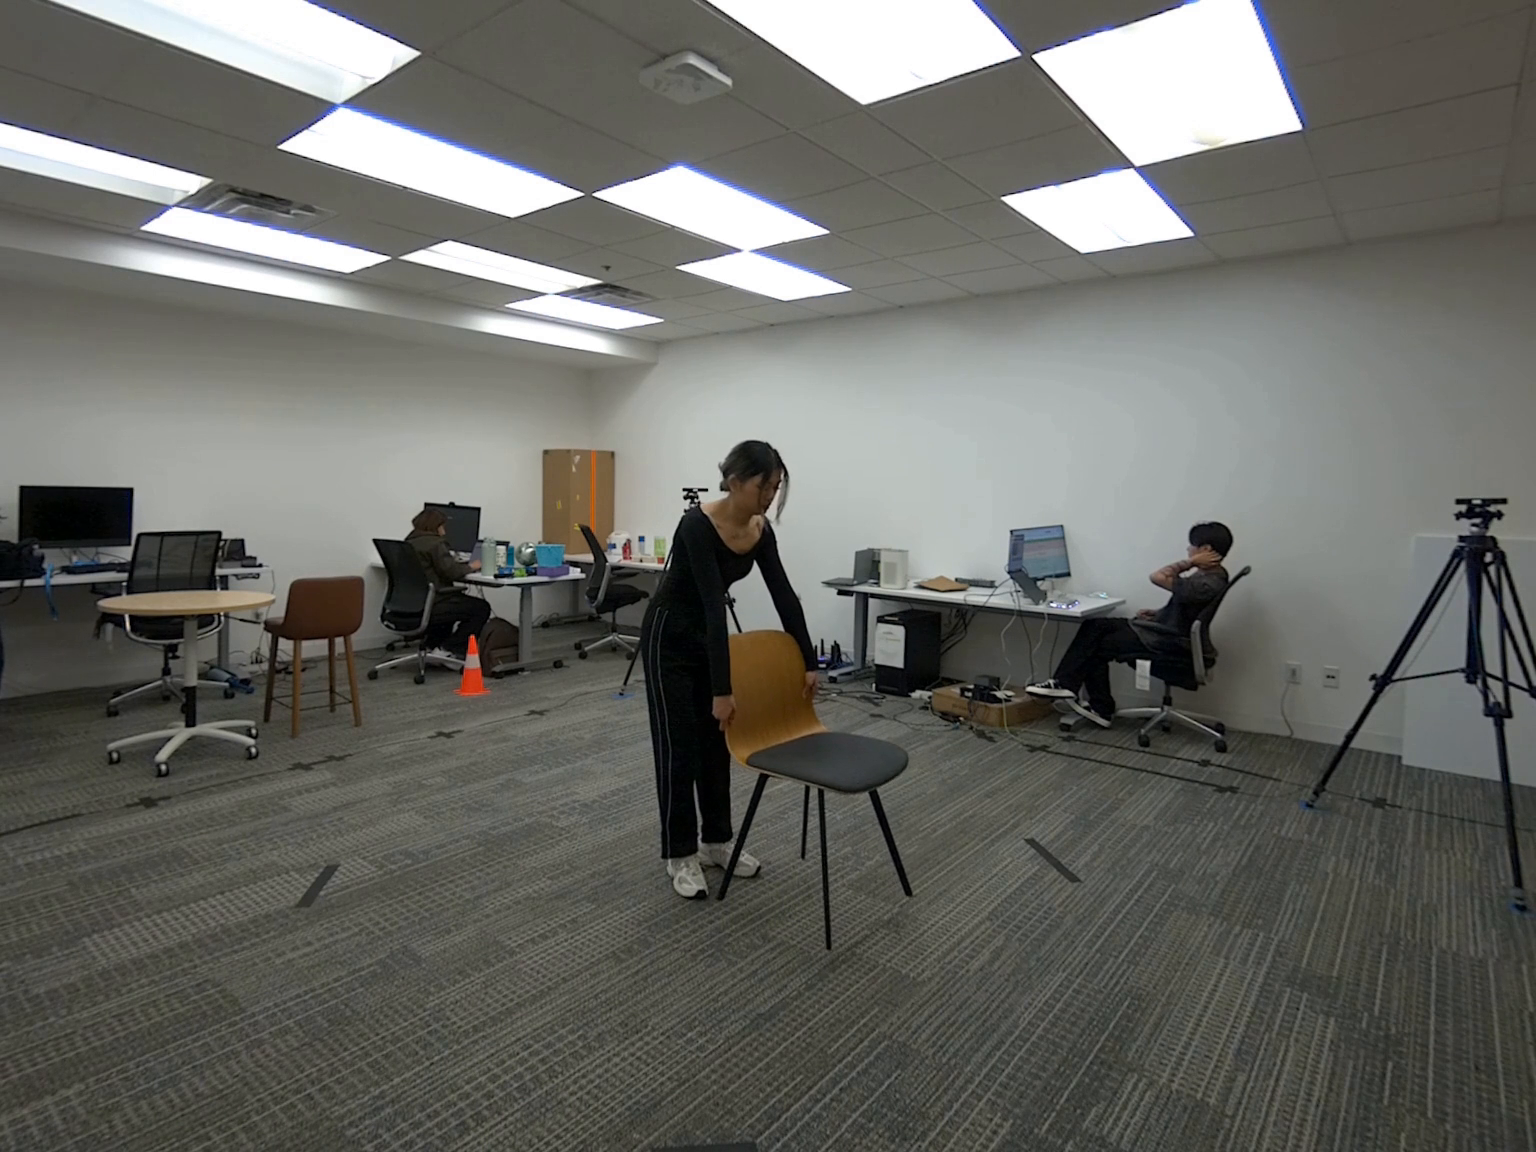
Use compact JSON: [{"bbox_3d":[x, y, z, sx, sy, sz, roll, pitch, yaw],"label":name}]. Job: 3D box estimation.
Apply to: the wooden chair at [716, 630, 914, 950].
[{"bbox_3d":[0.145,0.621,2.736,0.538,0.878,0.464,-5,-1,43],"label":"wooden chair"}]
